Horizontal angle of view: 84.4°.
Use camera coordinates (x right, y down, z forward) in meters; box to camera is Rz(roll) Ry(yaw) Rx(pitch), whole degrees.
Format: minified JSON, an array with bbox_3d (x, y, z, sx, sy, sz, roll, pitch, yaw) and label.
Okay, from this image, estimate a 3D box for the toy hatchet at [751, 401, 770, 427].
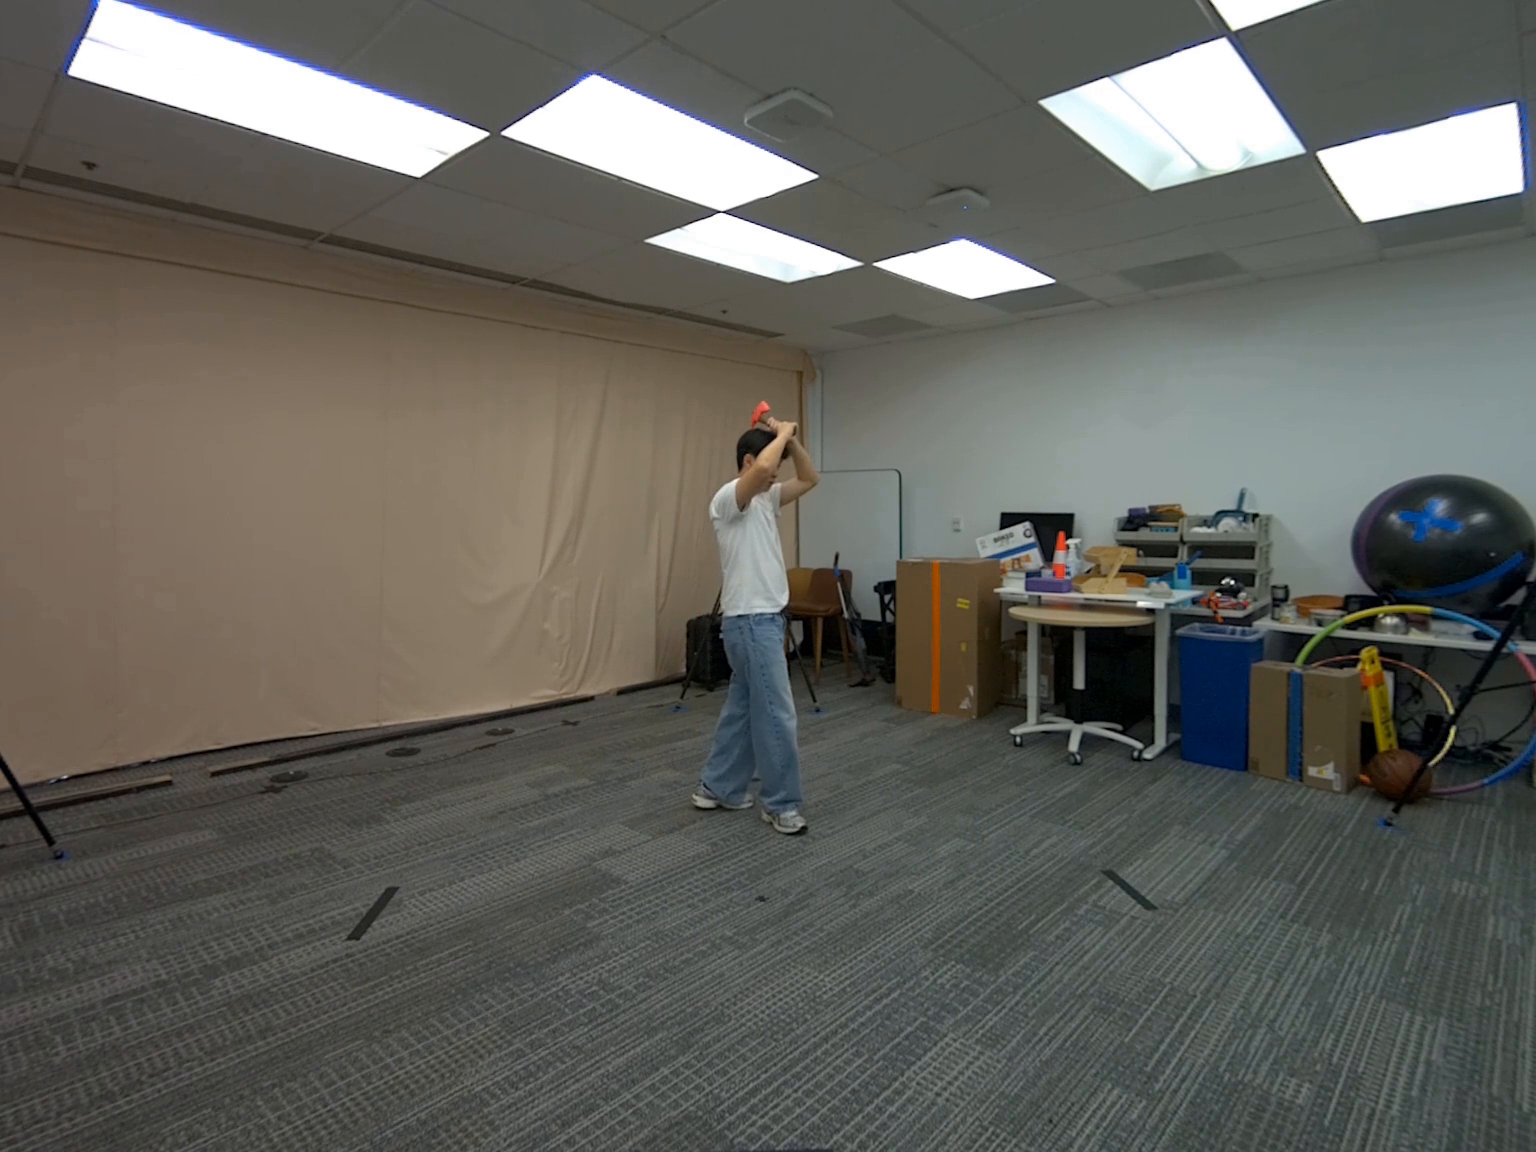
[{"bbox_3d":[0.033,-0.697,3.700,0.280,0.131,0.028,19,7,42],"label":"toy hatchet"}]
